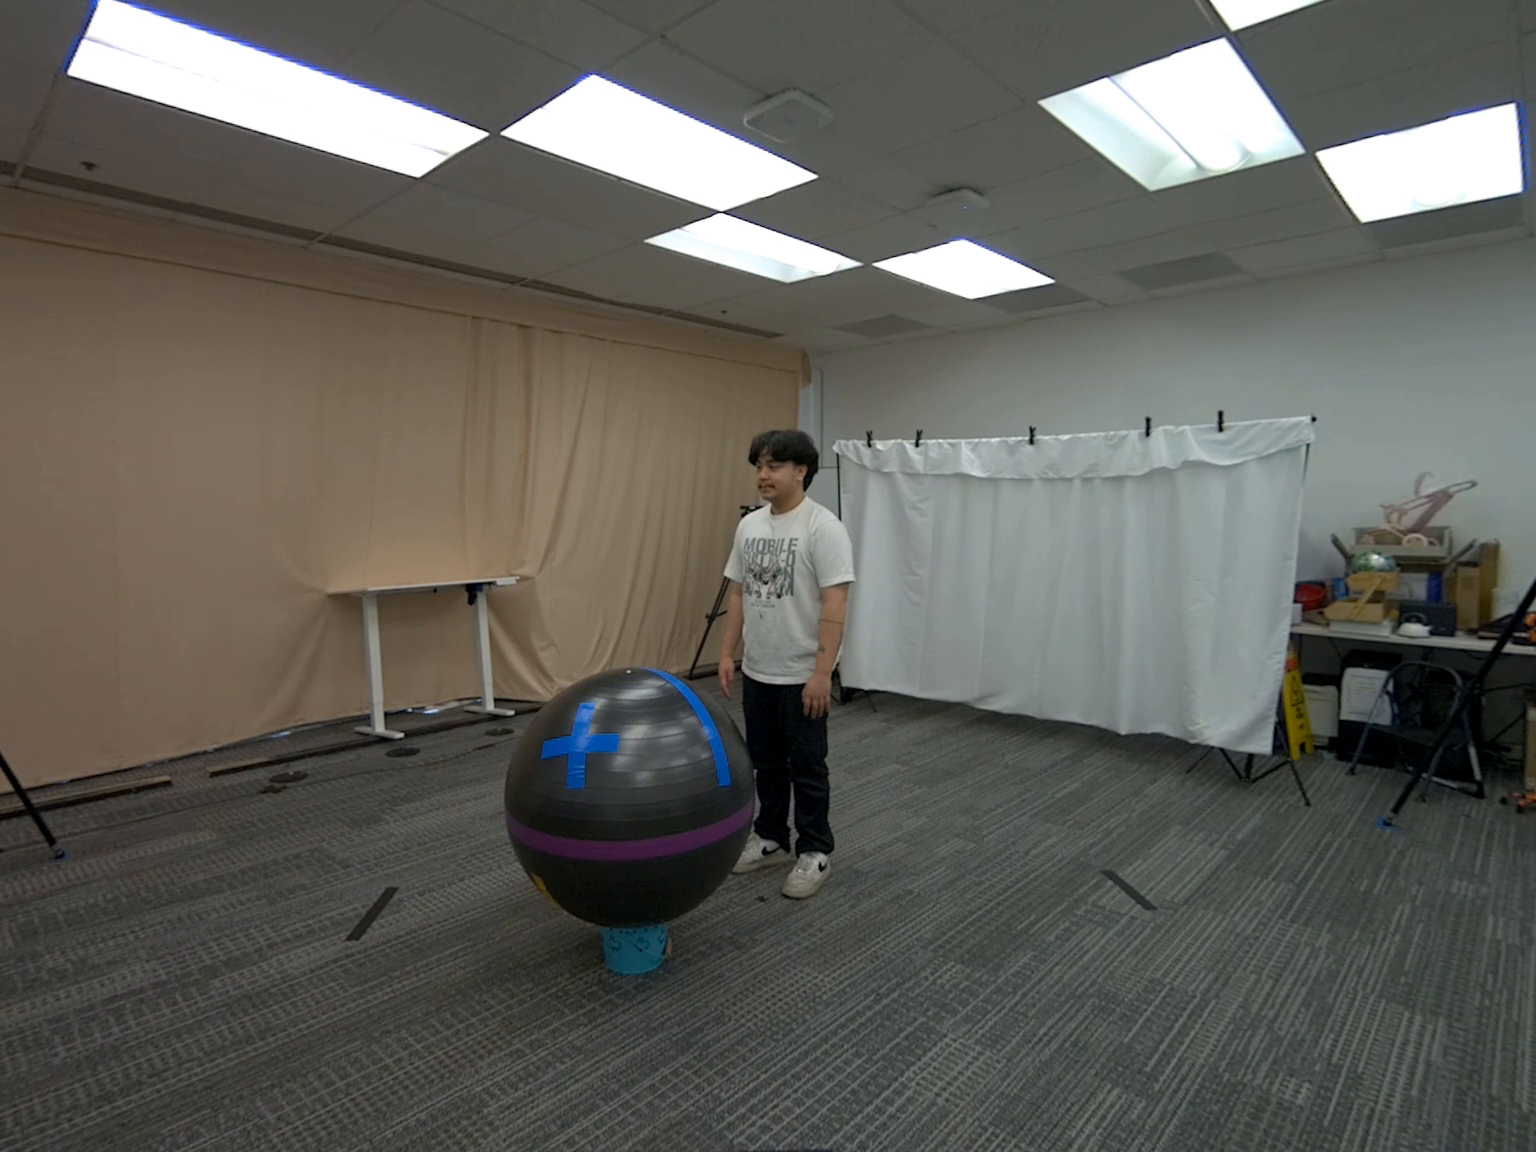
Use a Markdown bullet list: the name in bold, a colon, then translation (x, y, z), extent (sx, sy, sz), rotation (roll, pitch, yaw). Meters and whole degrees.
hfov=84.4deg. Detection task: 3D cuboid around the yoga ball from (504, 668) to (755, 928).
- **yoga ball**: translation (-0.416, 0.668, 2.577), extent (0.757, 0.756, 0.760), rotation (0, 4, -2)
